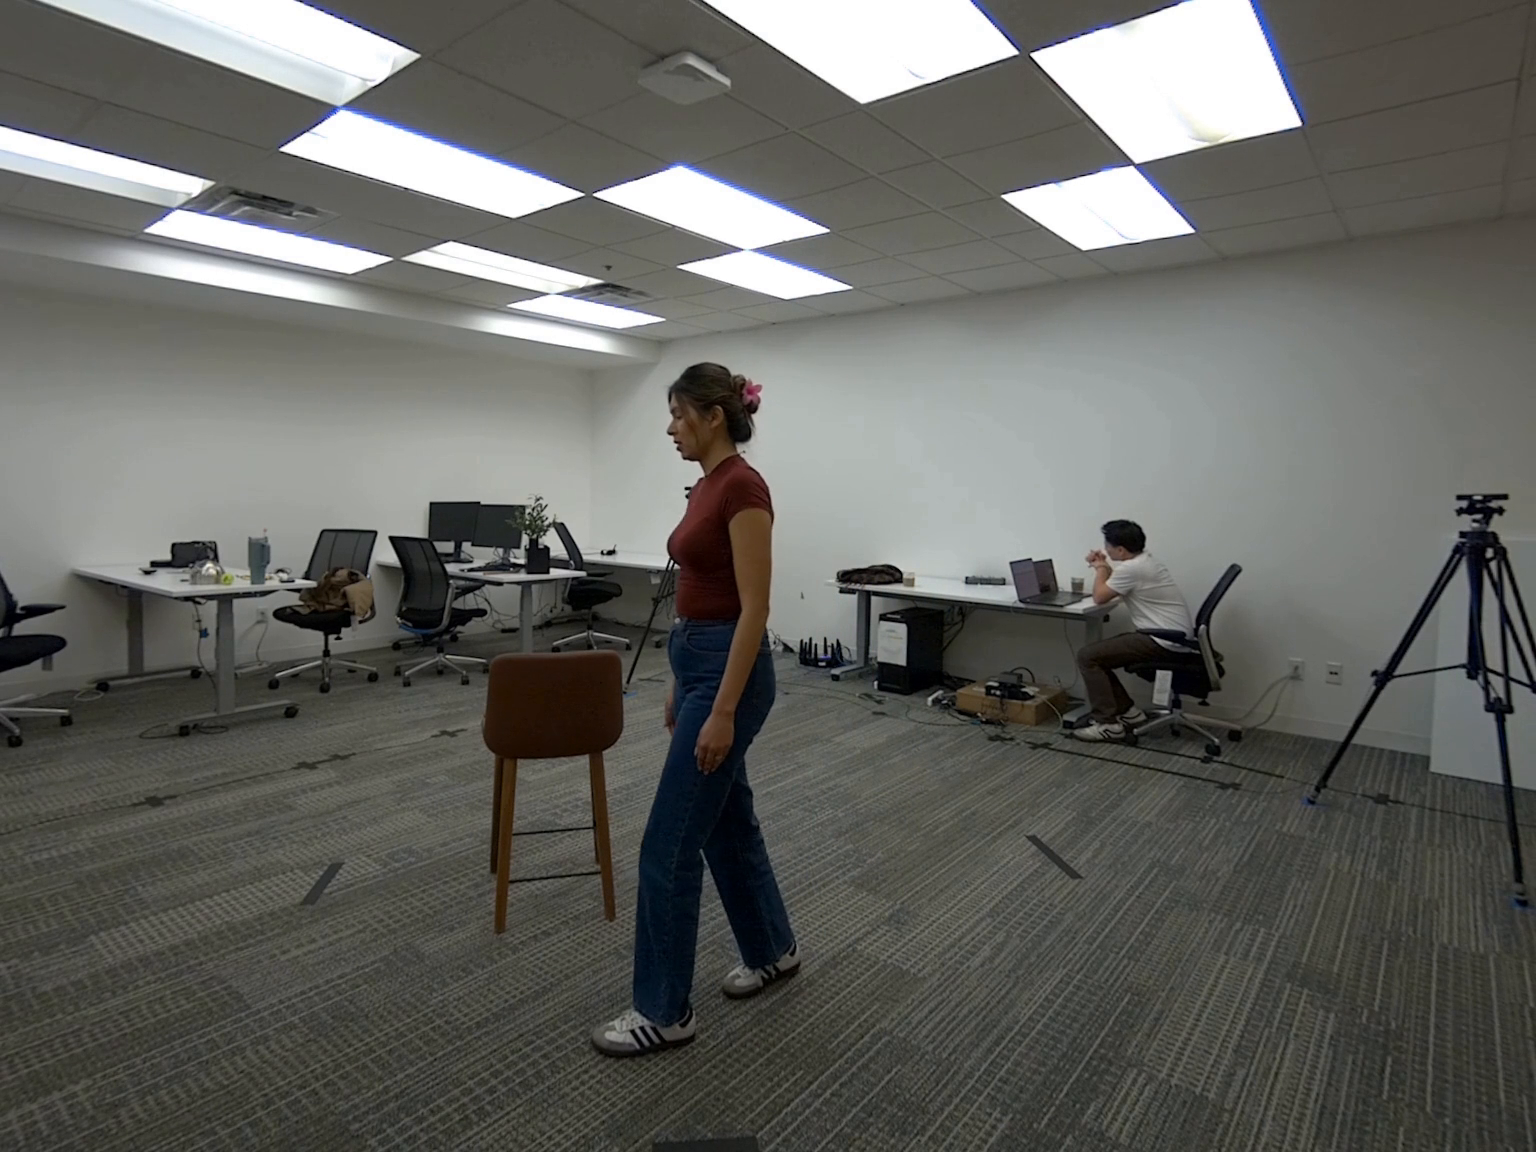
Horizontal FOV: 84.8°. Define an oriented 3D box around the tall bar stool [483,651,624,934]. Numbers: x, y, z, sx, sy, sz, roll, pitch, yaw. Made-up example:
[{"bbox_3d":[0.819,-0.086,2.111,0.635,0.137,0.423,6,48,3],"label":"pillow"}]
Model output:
[{"bbox_3d":[-0.744,0.651,2.863,0.449,0.886,0.478,-1,5,-18],"label":"tall bar stool"}]
